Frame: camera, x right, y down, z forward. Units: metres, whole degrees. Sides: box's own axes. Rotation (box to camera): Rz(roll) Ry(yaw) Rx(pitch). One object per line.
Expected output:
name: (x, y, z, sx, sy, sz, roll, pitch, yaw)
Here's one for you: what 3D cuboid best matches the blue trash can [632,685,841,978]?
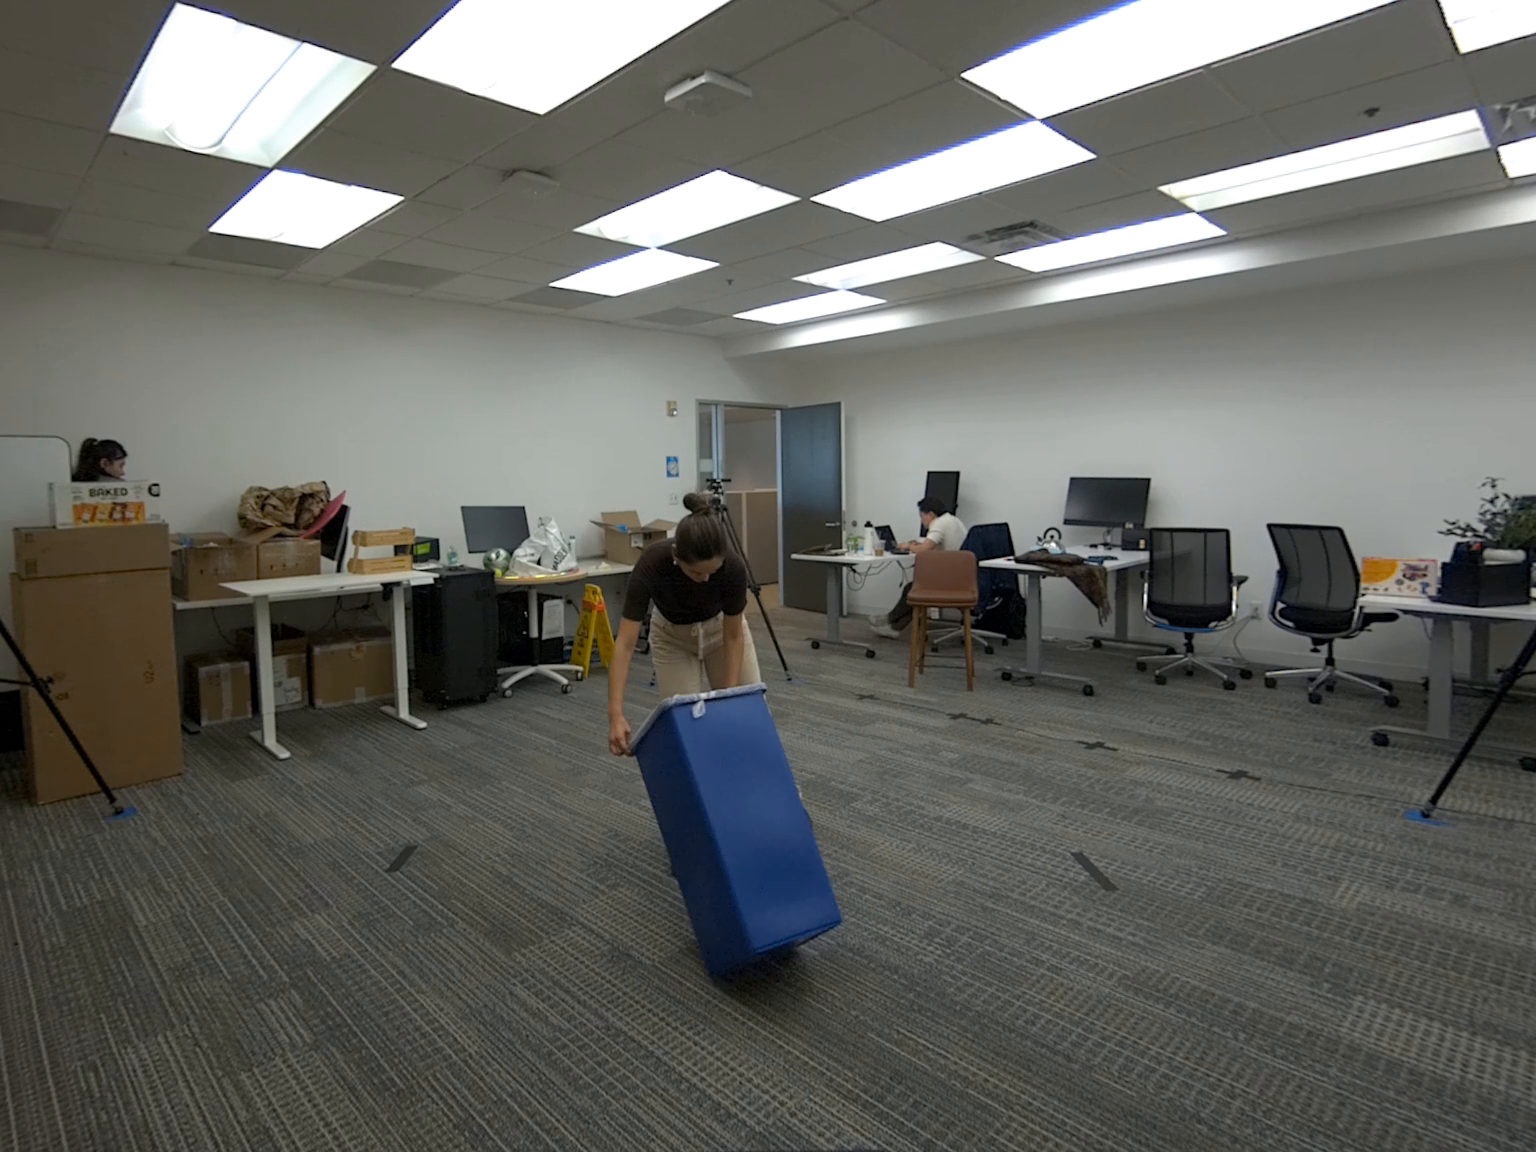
blue trash can: (-0.110, 0.746, 2.545, 0.369, 0.735, 0.372, -3, -33, -32)
